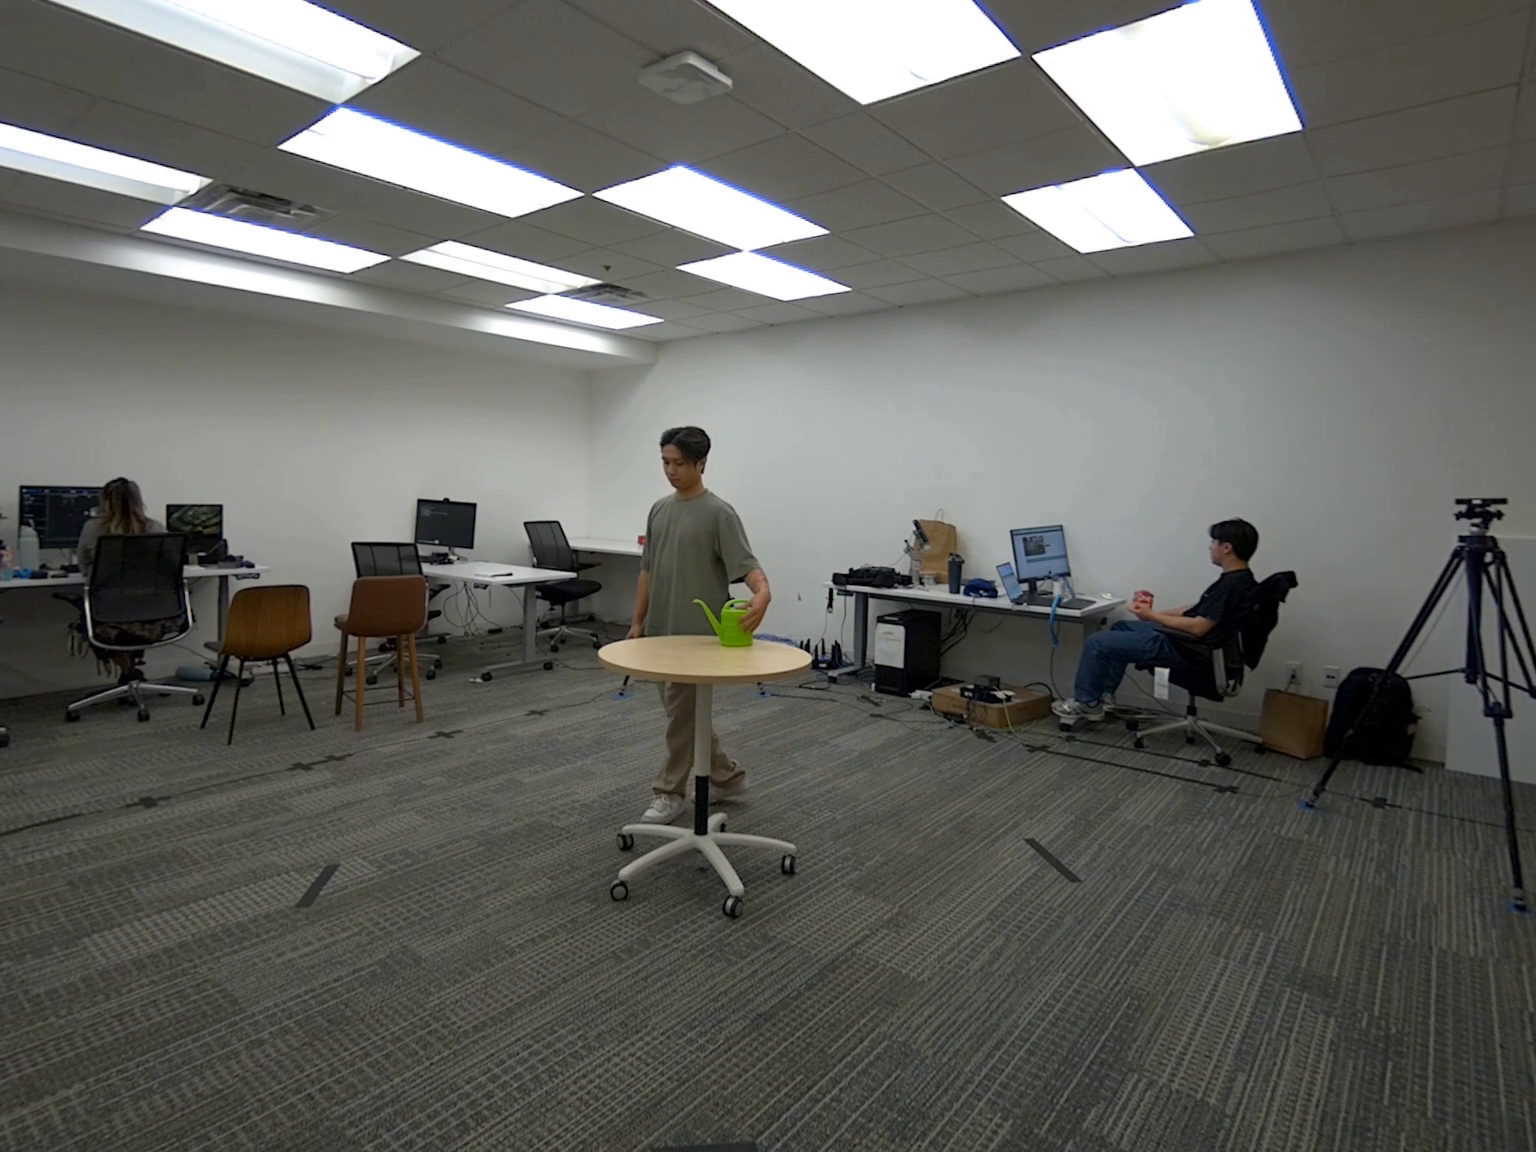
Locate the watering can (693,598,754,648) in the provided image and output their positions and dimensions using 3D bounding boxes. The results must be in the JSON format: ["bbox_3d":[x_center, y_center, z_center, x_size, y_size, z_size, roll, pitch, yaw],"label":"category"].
[{"bbox_3d":[-0.175,0.177,3.247,0.274,0.177,0.099,0,1,-13],"label":"watering can"}]
